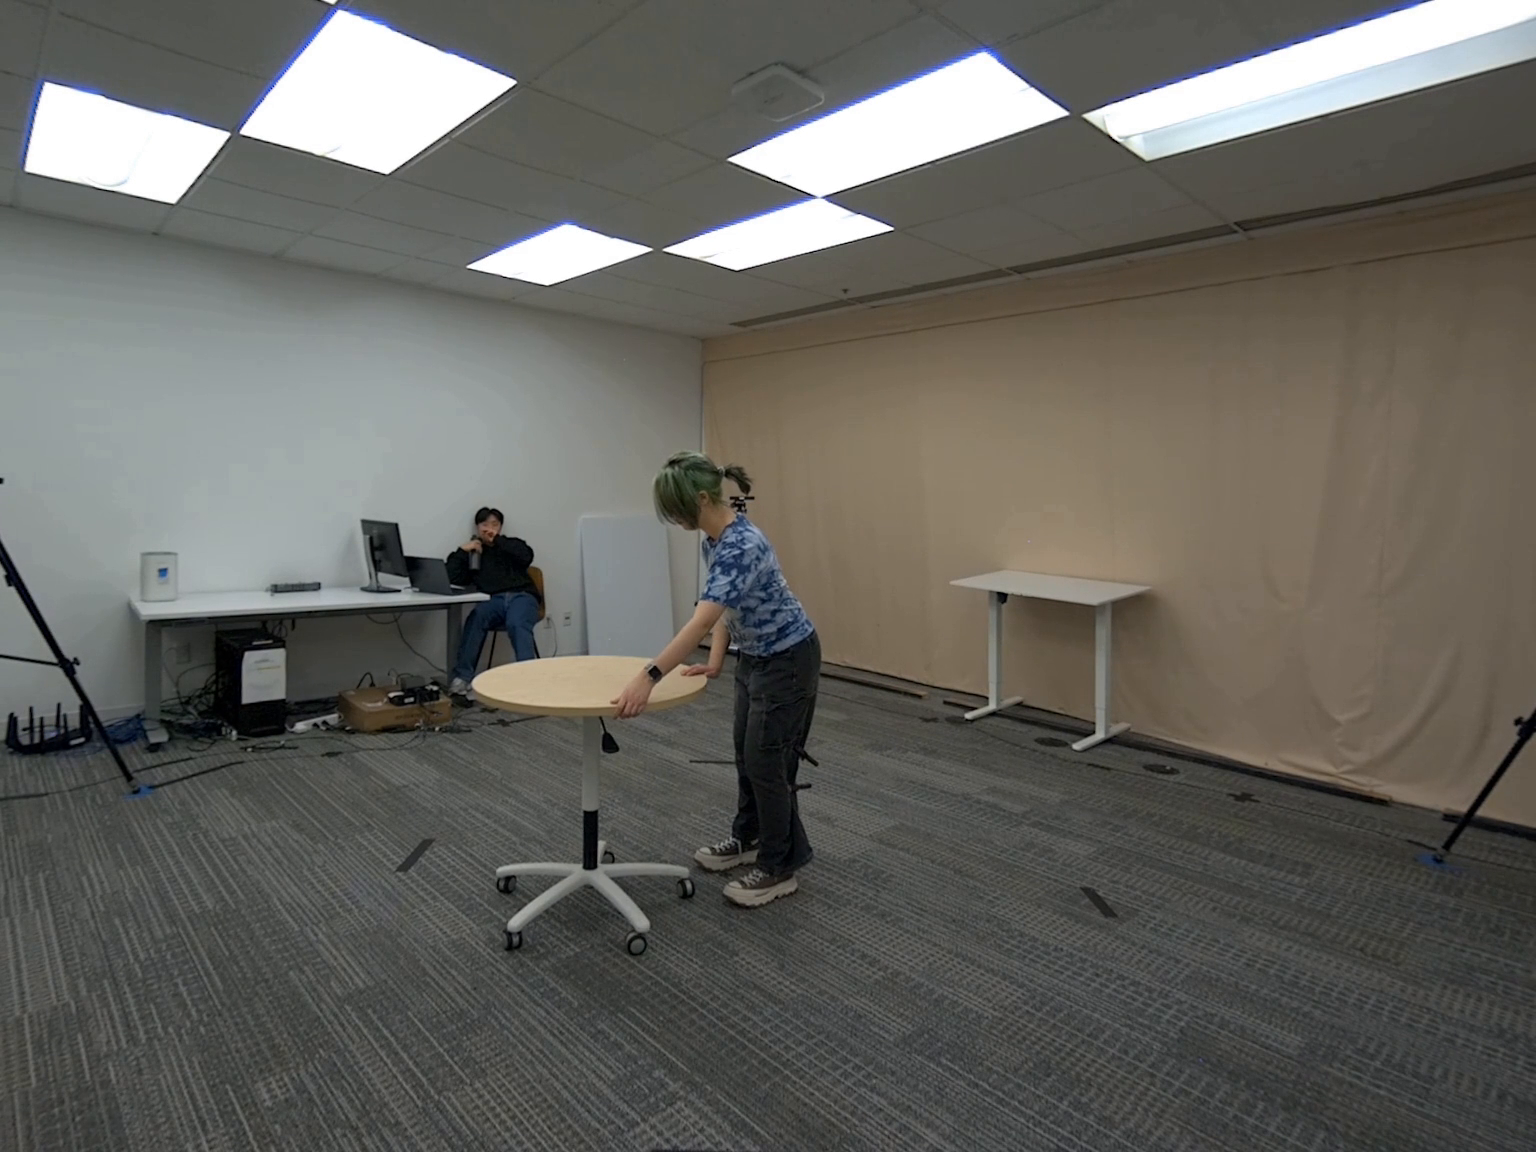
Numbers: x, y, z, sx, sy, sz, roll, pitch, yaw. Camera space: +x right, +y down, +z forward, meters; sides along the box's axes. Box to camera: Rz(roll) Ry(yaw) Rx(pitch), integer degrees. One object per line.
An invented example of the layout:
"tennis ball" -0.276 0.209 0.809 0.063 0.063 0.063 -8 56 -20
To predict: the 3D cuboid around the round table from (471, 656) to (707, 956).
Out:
"round table" -0.597 0.735 2.799 0.763 0.792 0.767 1 4 -1
